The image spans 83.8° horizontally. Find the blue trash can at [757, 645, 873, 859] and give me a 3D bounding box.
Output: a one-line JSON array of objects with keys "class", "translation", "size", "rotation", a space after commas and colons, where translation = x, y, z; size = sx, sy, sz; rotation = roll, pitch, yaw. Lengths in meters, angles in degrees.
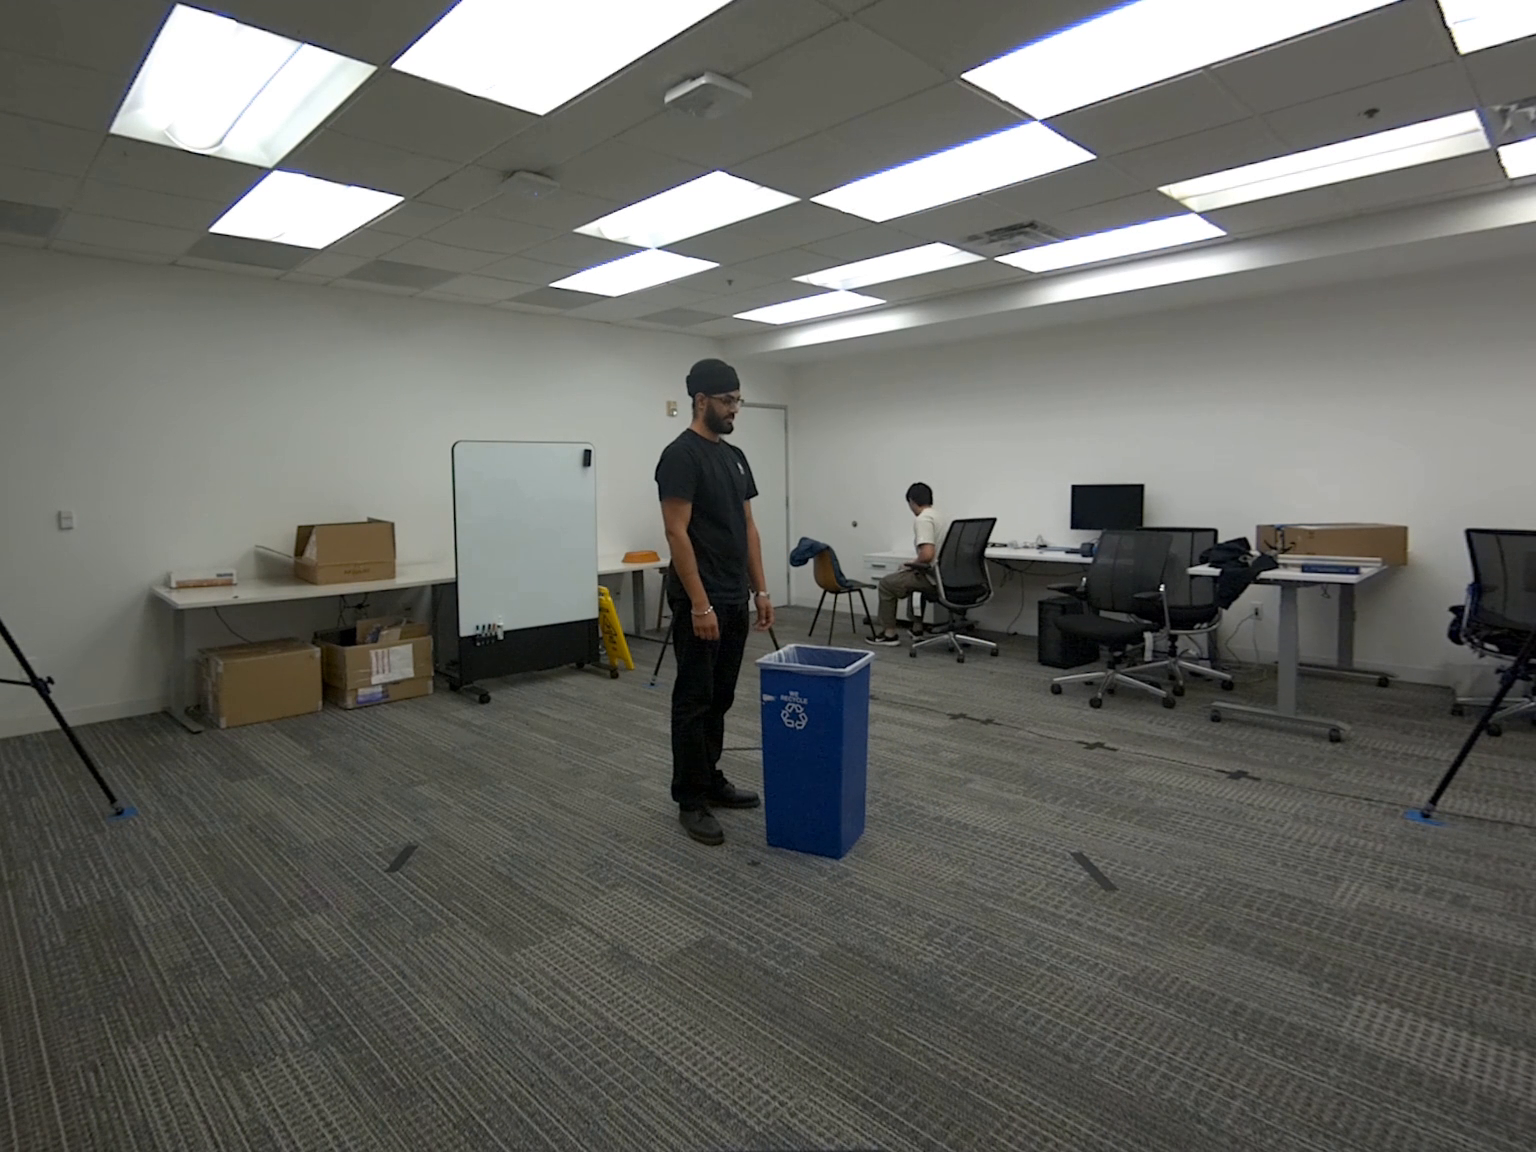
[{"class": "blue trash can", "translation": [0.181, 0.662, 3.293], "size": [0.383, 0.711, 0.371], "rotation": [2, 5, 25]}]
